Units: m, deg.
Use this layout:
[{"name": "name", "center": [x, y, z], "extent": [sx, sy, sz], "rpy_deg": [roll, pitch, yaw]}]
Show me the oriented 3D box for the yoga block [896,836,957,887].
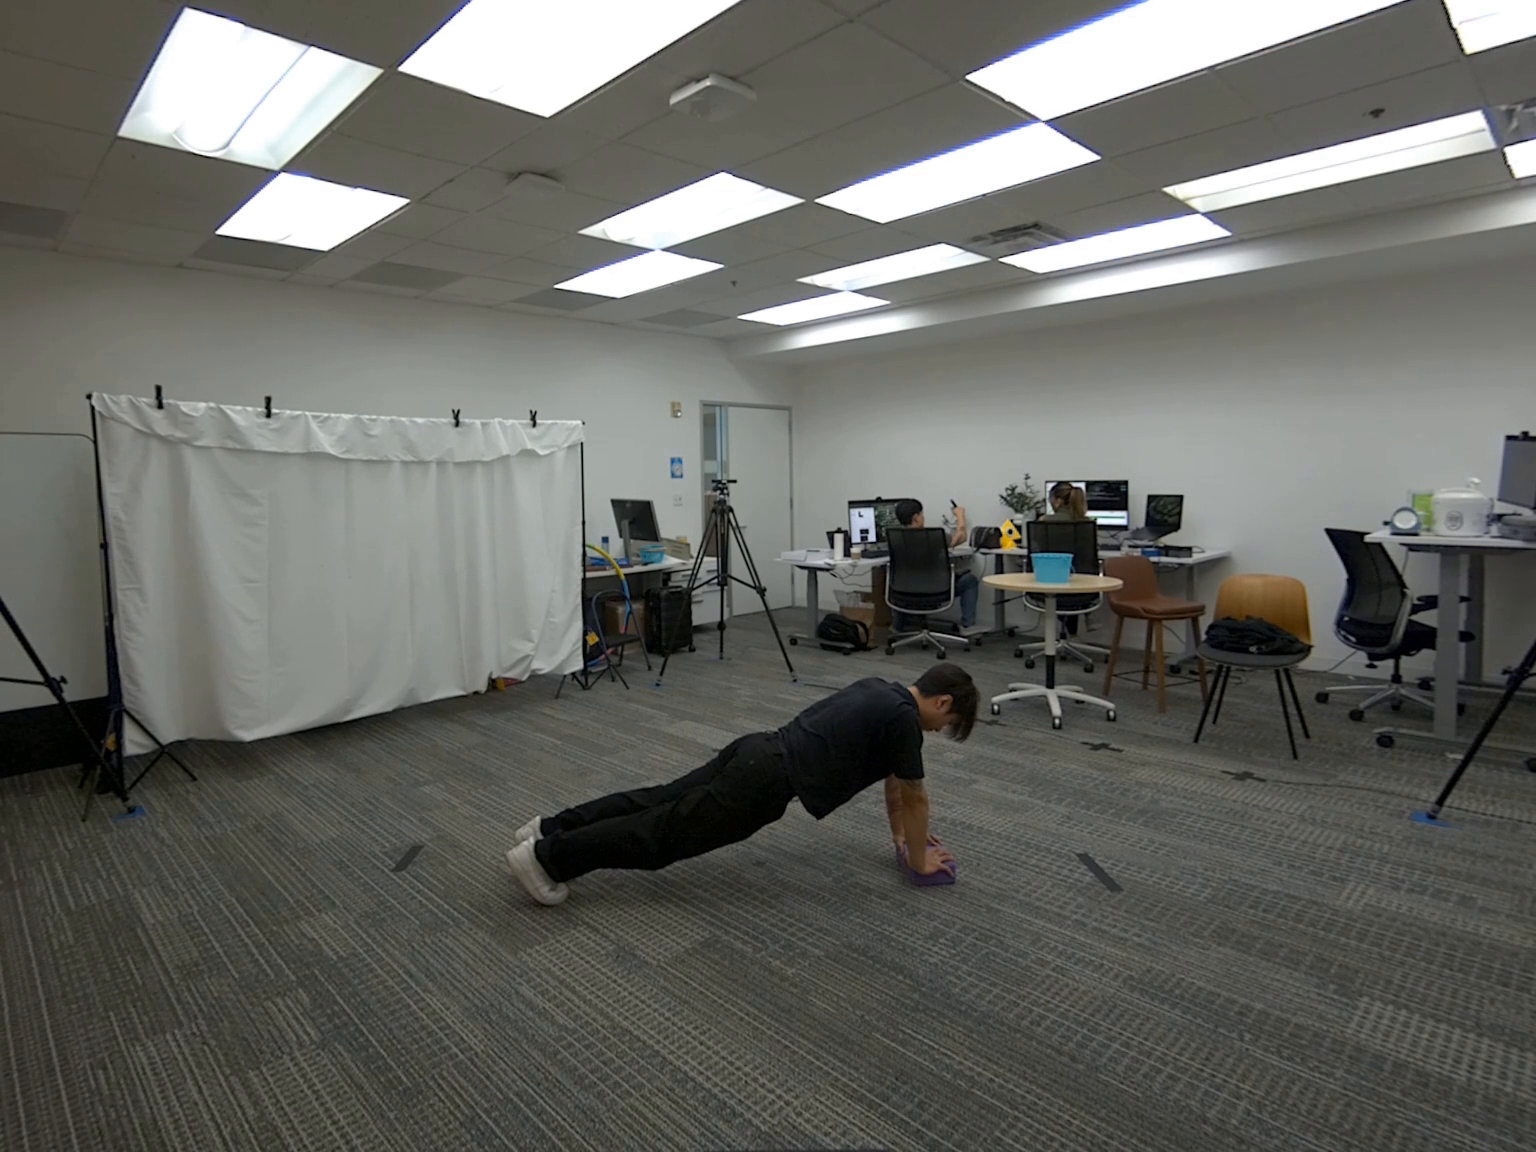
[{"name": "yoga block", "center": [0.554, 1.004, 3.025], "extent": [0.148, 0.076, 0.231], "rpy_deg": [-2, 6, -7]}]
